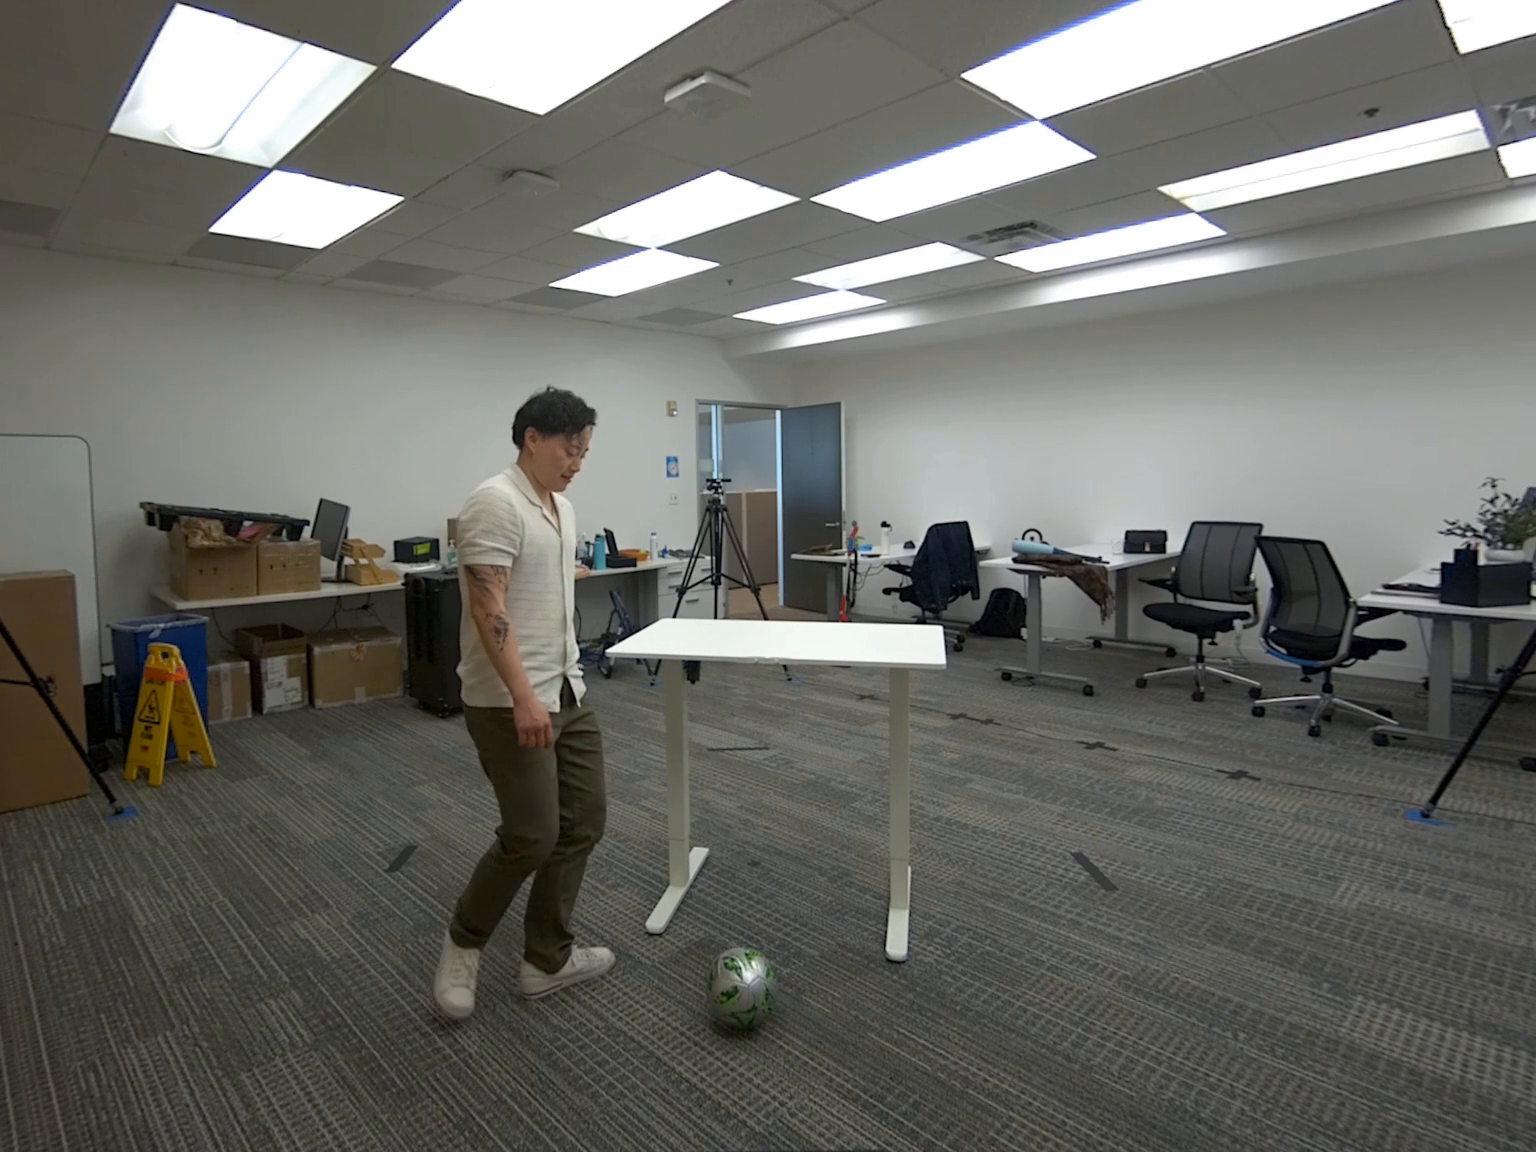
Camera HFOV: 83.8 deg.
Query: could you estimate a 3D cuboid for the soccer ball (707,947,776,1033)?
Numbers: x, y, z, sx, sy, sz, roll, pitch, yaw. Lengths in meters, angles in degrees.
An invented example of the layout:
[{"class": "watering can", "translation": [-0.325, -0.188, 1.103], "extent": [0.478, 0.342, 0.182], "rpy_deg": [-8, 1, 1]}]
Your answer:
[{"class": "soccer ball", "translation": [-0.069, 1.055, 2.202], "extent": [0.187, 0.187, 0.188], "rpy_deg": [-1, 5, -2]}]
